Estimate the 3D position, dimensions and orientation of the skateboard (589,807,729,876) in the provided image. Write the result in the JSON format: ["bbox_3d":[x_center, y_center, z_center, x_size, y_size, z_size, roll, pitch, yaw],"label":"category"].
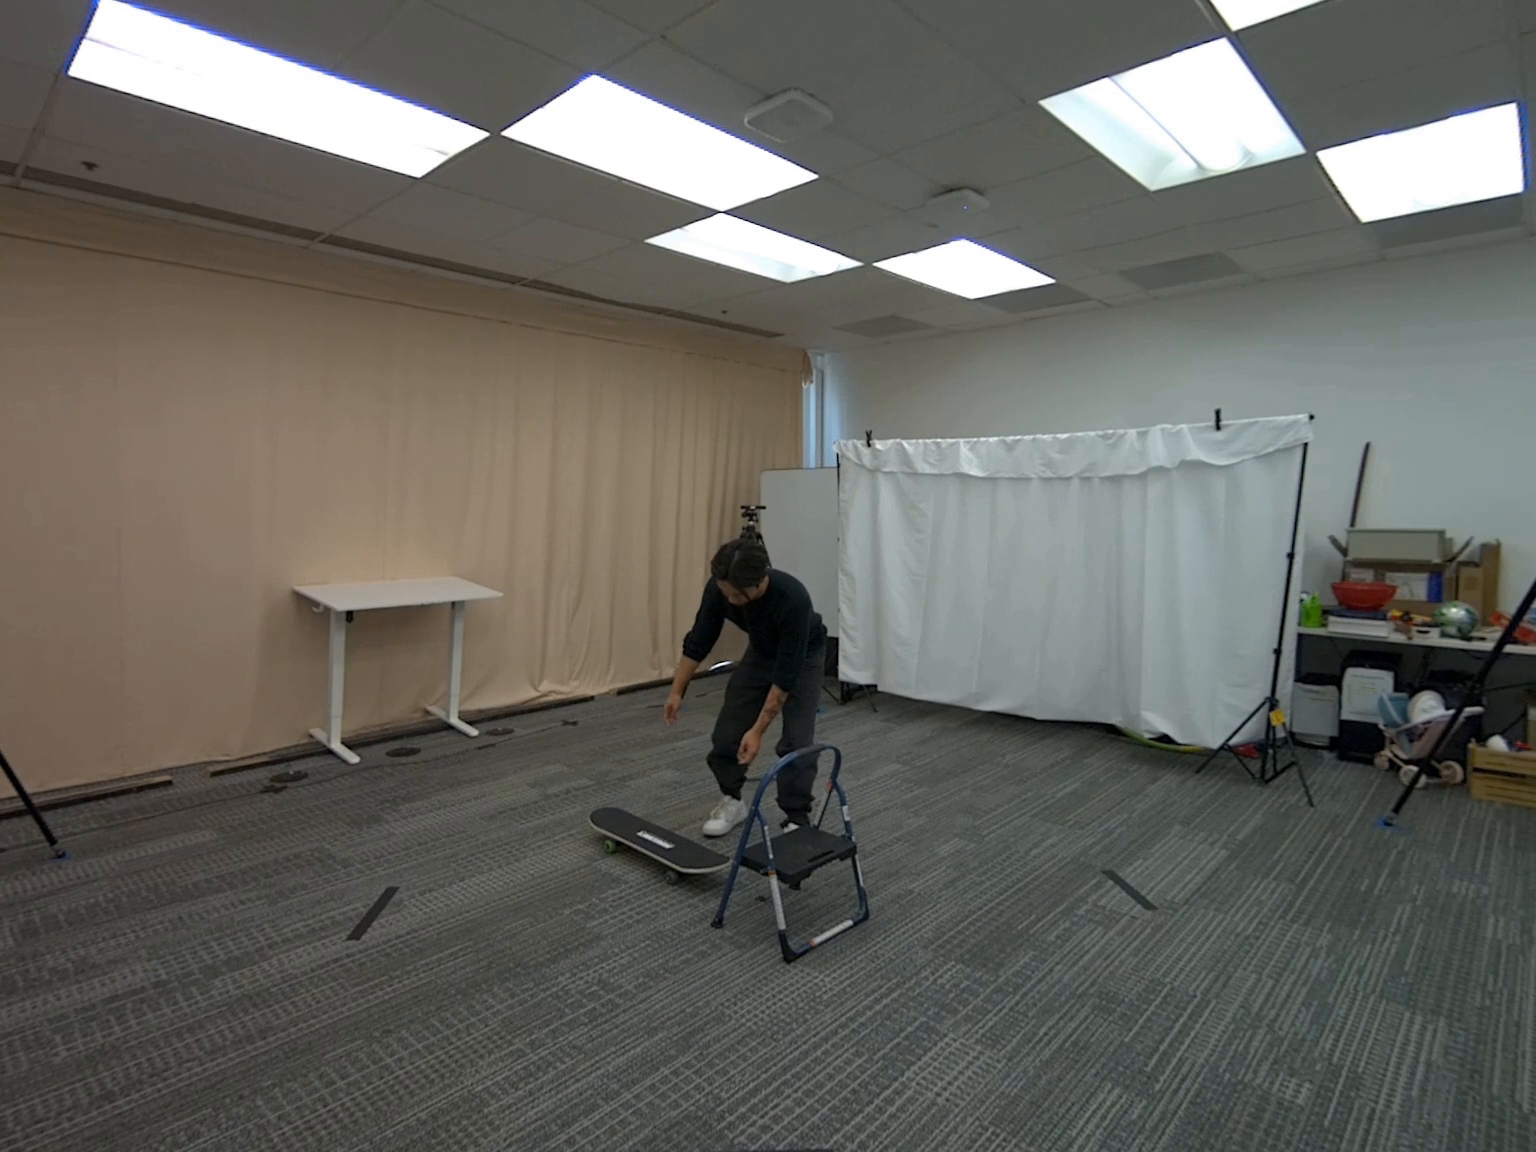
[{"bbox_3d":[-0.444,1.067,3.305,0.187,0.110,0.812,-5,6,-44],"label":"skateboard"}]
